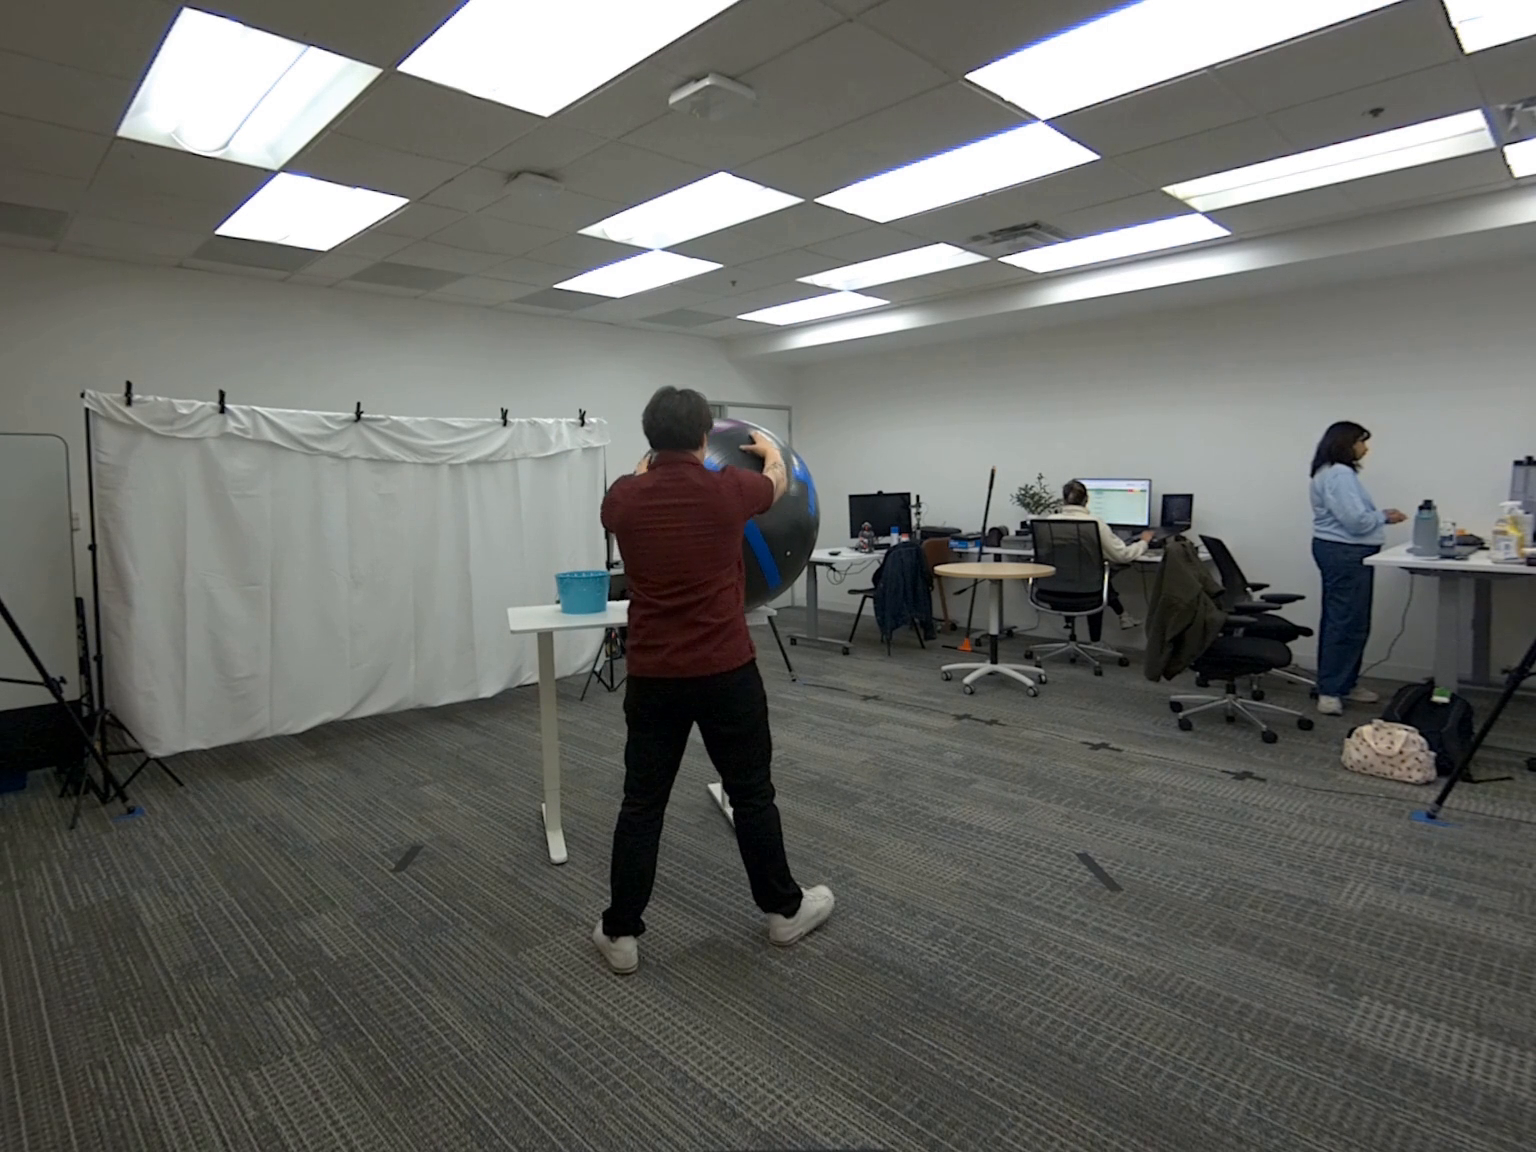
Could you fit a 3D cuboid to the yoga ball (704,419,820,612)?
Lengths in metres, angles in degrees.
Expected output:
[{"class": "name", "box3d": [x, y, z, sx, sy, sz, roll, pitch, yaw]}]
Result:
[{"class": "yoga ball", "box3d": [-0.183, -0.220, 3.314, 0.757, 0.755, 0.762, -1, 5, -2]}]
